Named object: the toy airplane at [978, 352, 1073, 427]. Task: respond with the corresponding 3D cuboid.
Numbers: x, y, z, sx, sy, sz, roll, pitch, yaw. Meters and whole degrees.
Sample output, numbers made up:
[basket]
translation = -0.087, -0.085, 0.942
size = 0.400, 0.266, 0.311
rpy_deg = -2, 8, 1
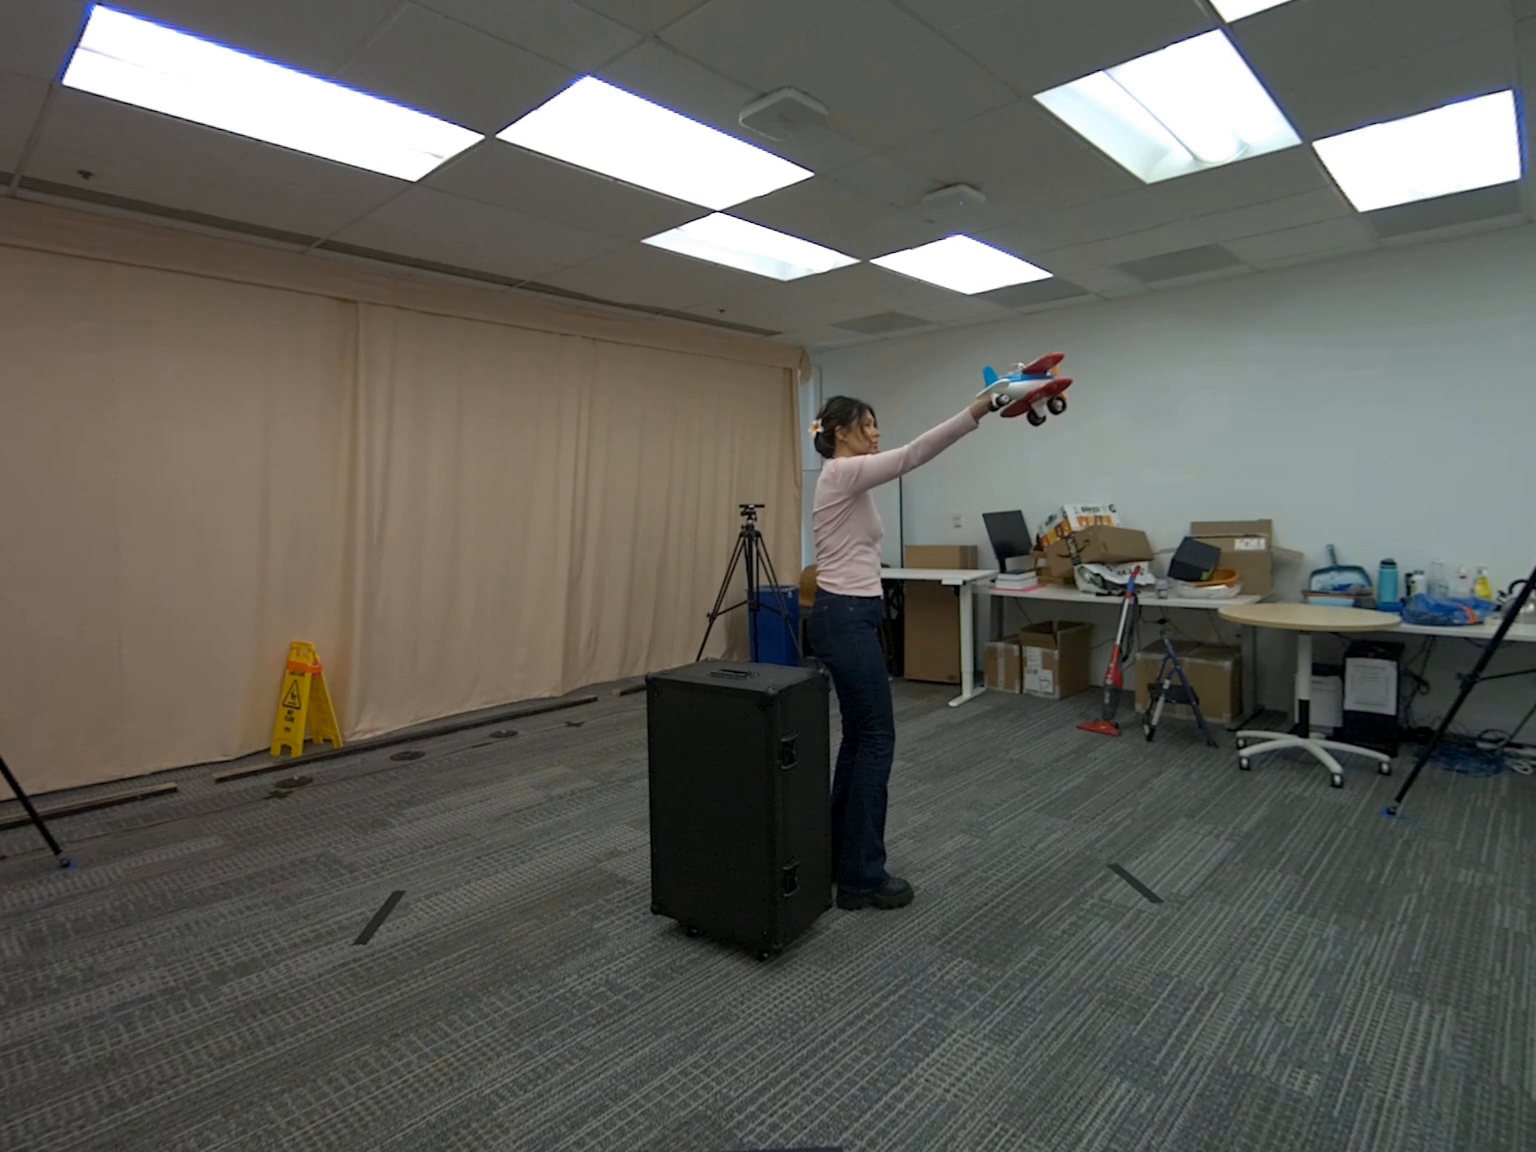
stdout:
[toy airplane]
translation = 0.758, -0.547, 2.429
size = 0.257, 0.158, 0.250
rpy_deg = -13, -22, 37
